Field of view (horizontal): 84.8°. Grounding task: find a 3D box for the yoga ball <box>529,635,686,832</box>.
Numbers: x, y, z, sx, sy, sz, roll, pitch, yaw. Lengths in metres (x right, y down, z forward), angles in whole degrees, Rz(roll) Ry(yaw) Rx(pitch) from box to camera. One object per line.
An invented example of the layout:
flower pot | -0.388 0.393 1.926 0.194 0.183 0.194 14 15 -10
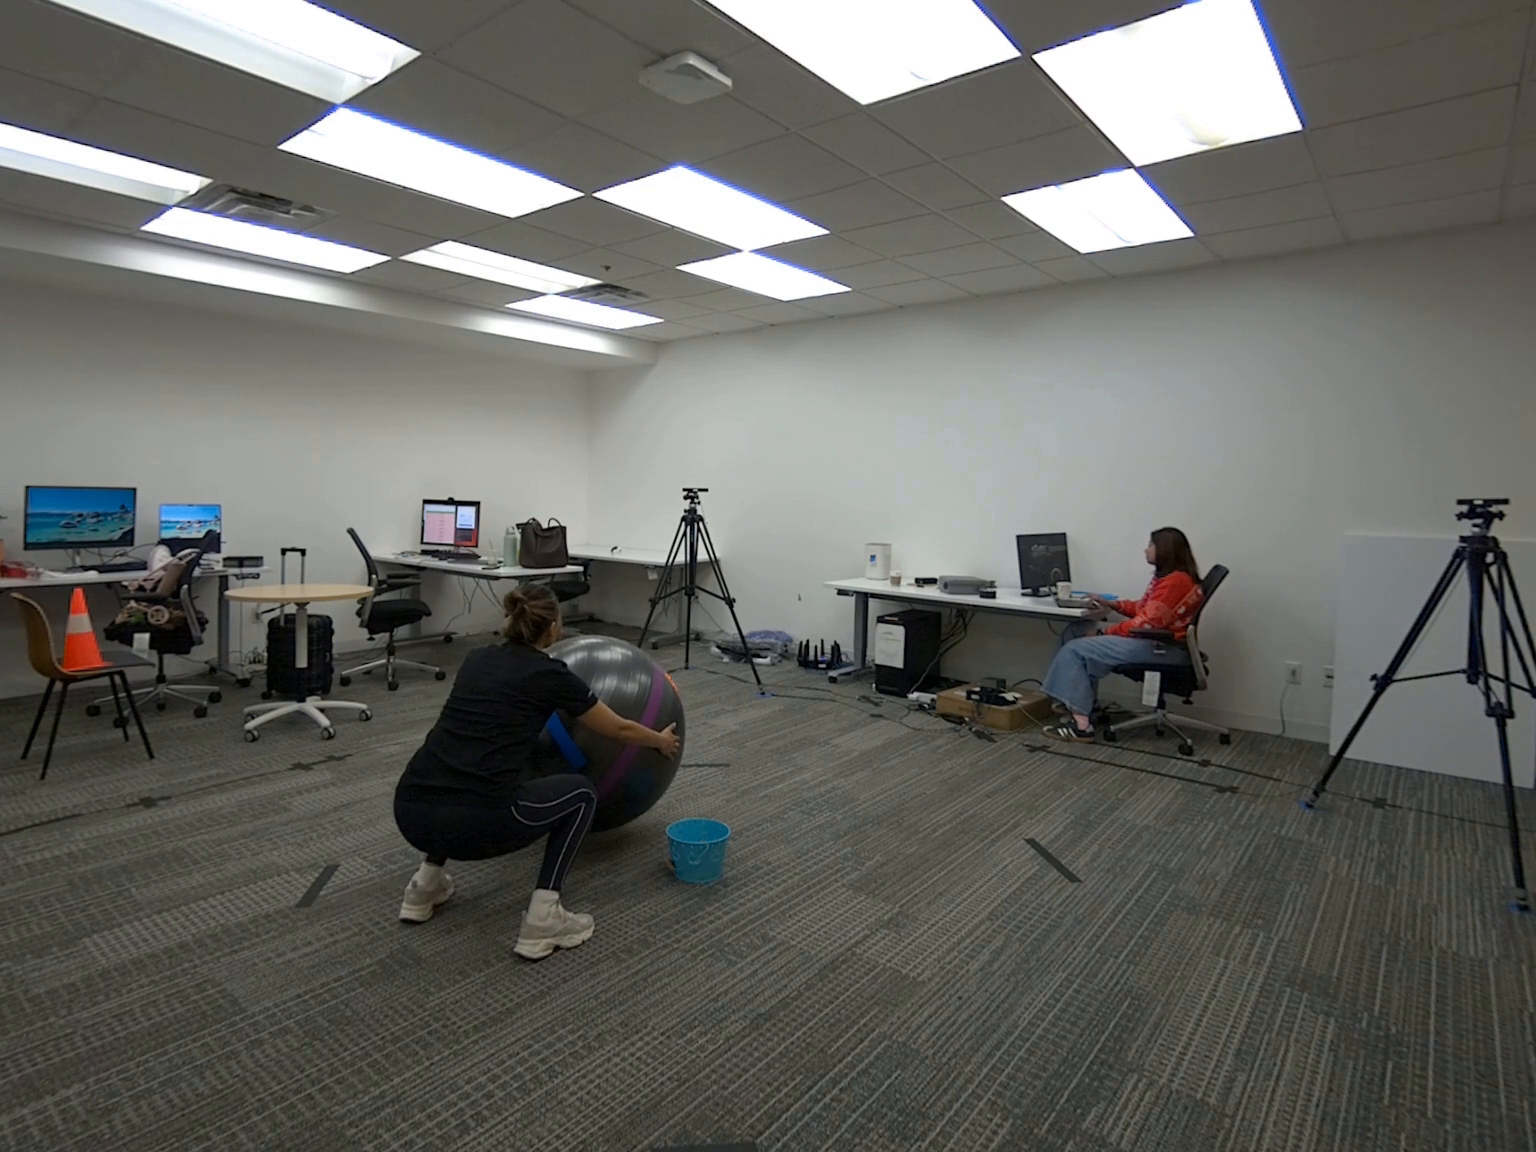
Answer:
yoga ball | -0.712 0.613 3.382 0.757 0.756 0.762 1 4 -2
